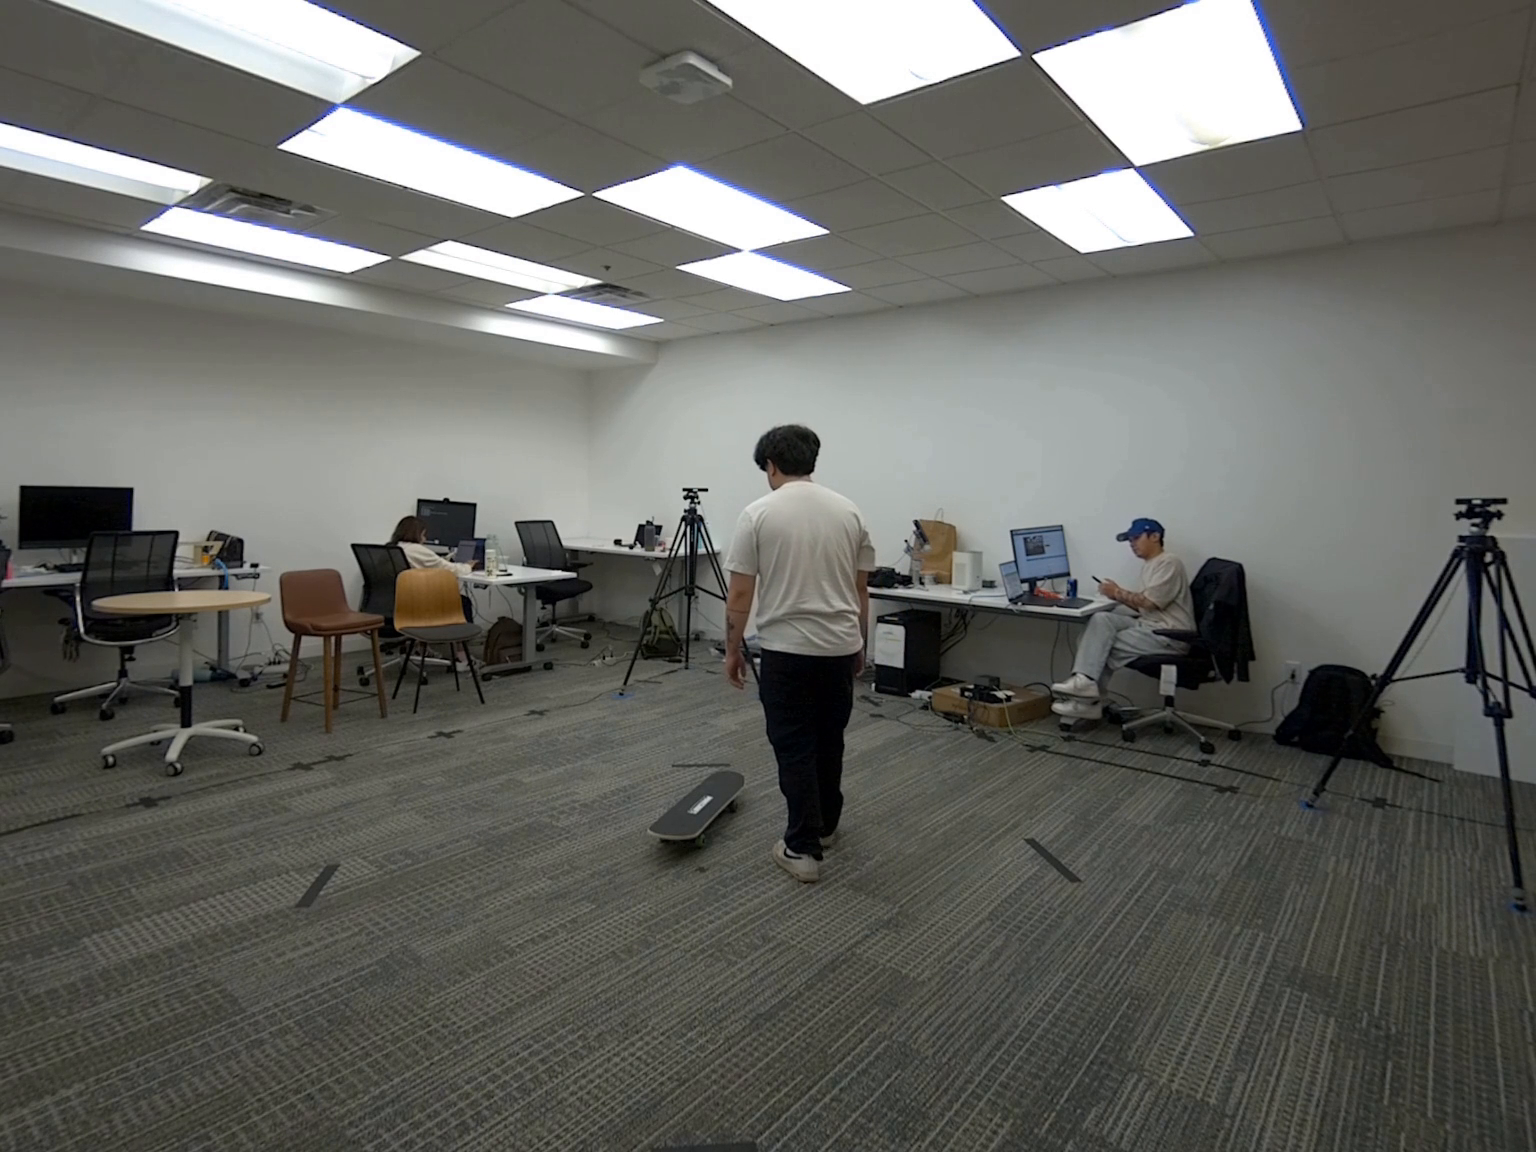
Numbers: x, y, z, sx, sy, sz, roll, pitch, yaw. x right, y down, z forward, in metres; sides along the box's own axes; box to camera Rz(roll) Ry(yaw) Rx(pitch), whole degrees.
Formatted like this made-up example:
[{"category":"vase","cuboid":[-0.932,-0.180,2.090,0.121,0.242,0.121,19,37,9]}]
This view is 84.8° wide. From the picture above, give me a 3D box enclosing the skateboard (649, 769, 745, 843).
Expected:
[{"category":"skateboard","cuboid":[-0.288,0.969,3.510,0.197,0.110,0.773,2,6,17]}]
